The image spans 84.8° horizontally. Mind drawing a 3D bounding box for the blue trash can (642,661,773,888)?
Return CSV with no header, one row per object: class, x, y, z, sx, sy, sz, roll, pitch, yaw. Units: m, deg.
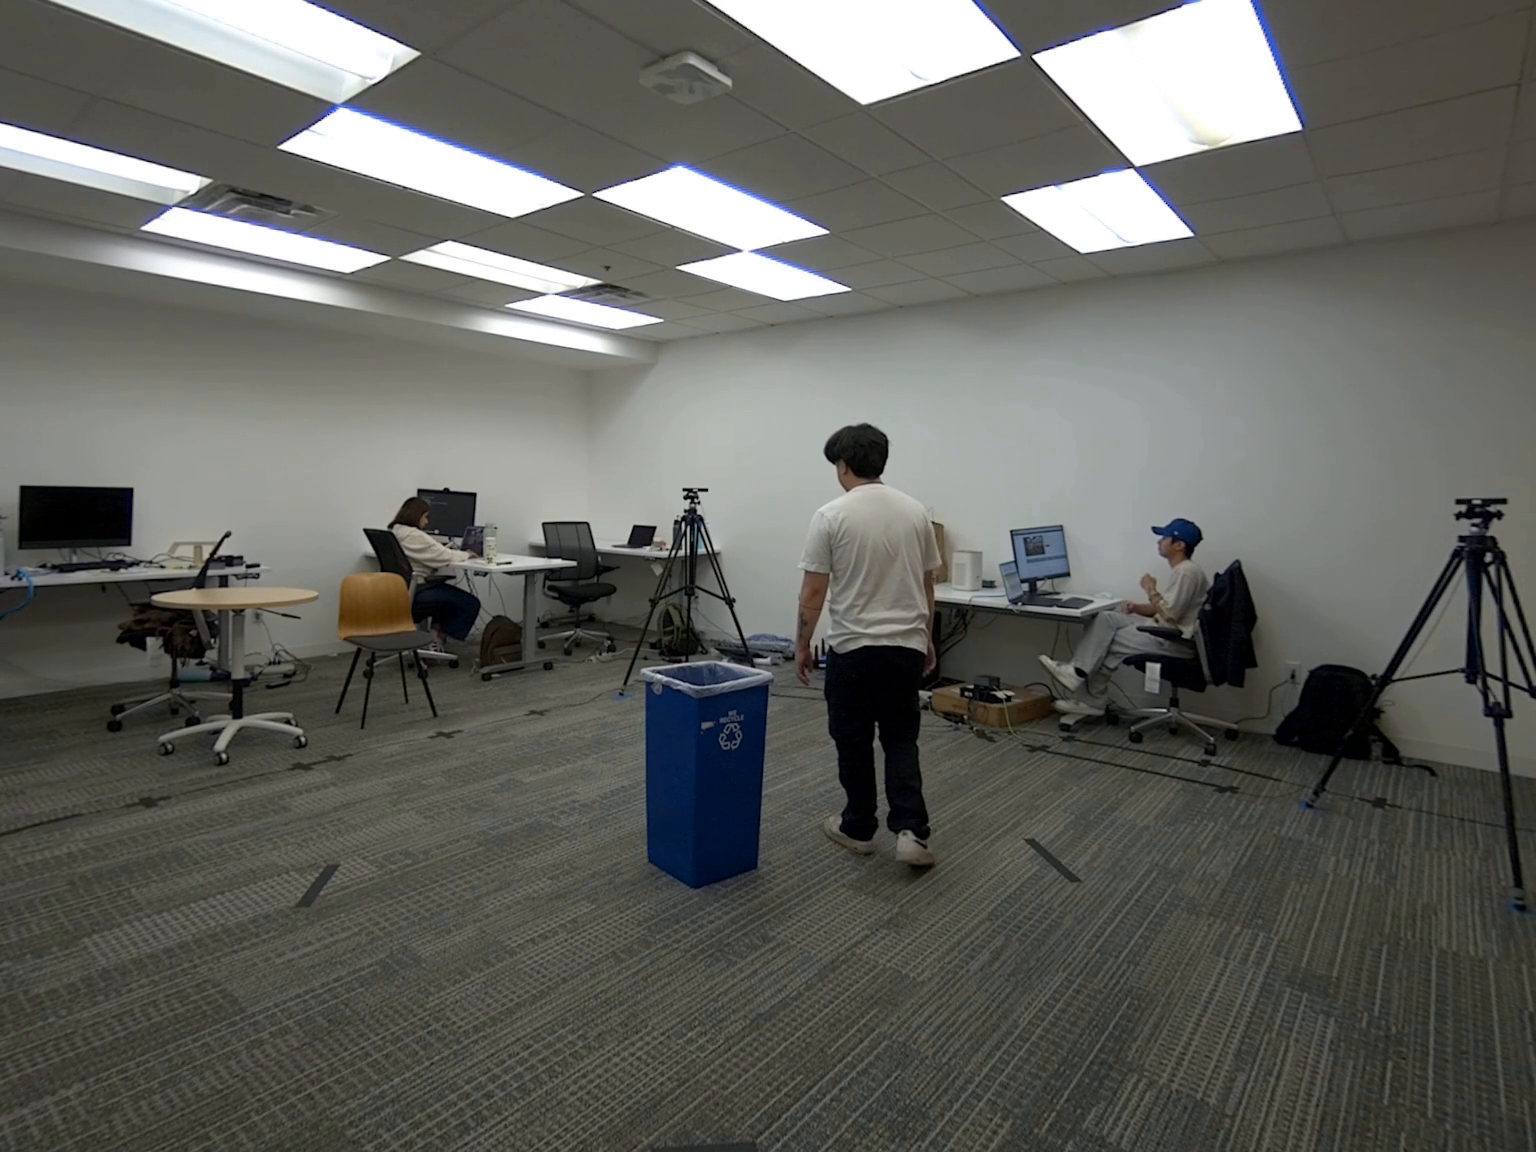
blue trash can,-0.241,0.707,3.145,0.363,0.711,0.391,-2,4,-41
